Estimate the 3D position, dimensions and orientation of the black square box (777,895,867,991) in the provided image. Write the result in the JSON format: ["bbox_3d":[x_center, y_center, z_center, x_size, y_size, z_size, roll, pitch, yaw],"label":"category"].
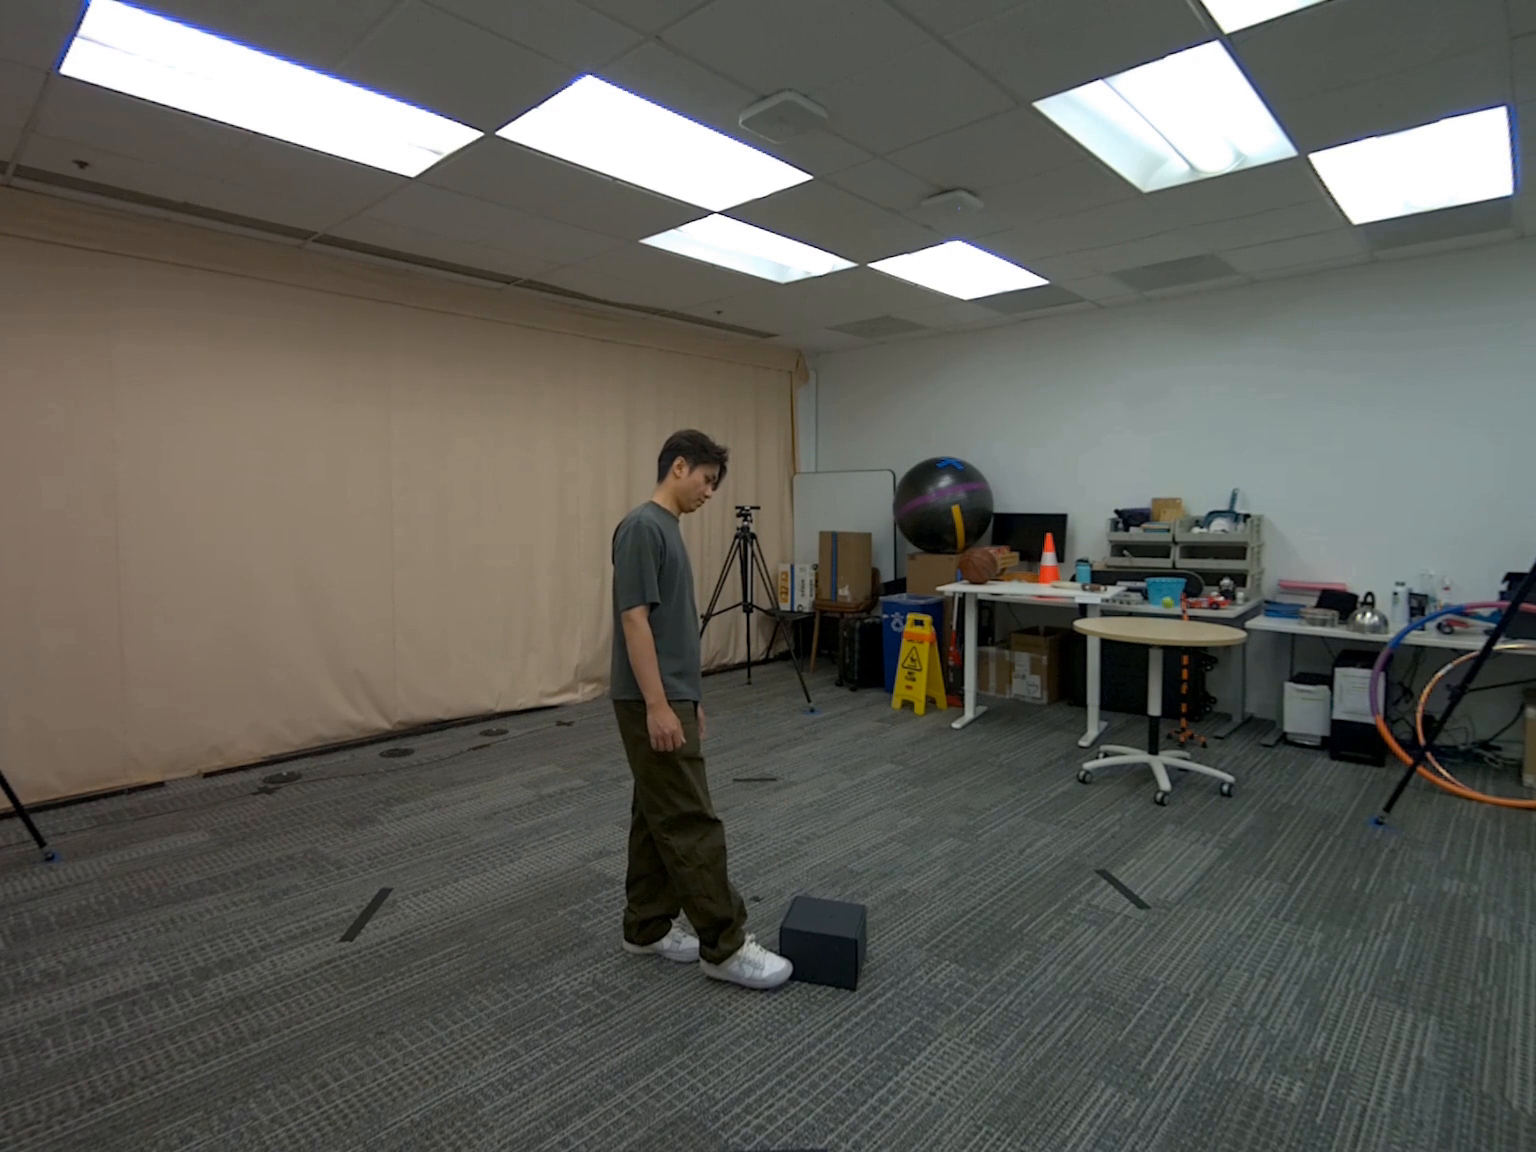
[{"bbox_3d":[0.175,1.100,2.531,0.232,0.155,0.213,1,4,16],"label":"black square box"}]
